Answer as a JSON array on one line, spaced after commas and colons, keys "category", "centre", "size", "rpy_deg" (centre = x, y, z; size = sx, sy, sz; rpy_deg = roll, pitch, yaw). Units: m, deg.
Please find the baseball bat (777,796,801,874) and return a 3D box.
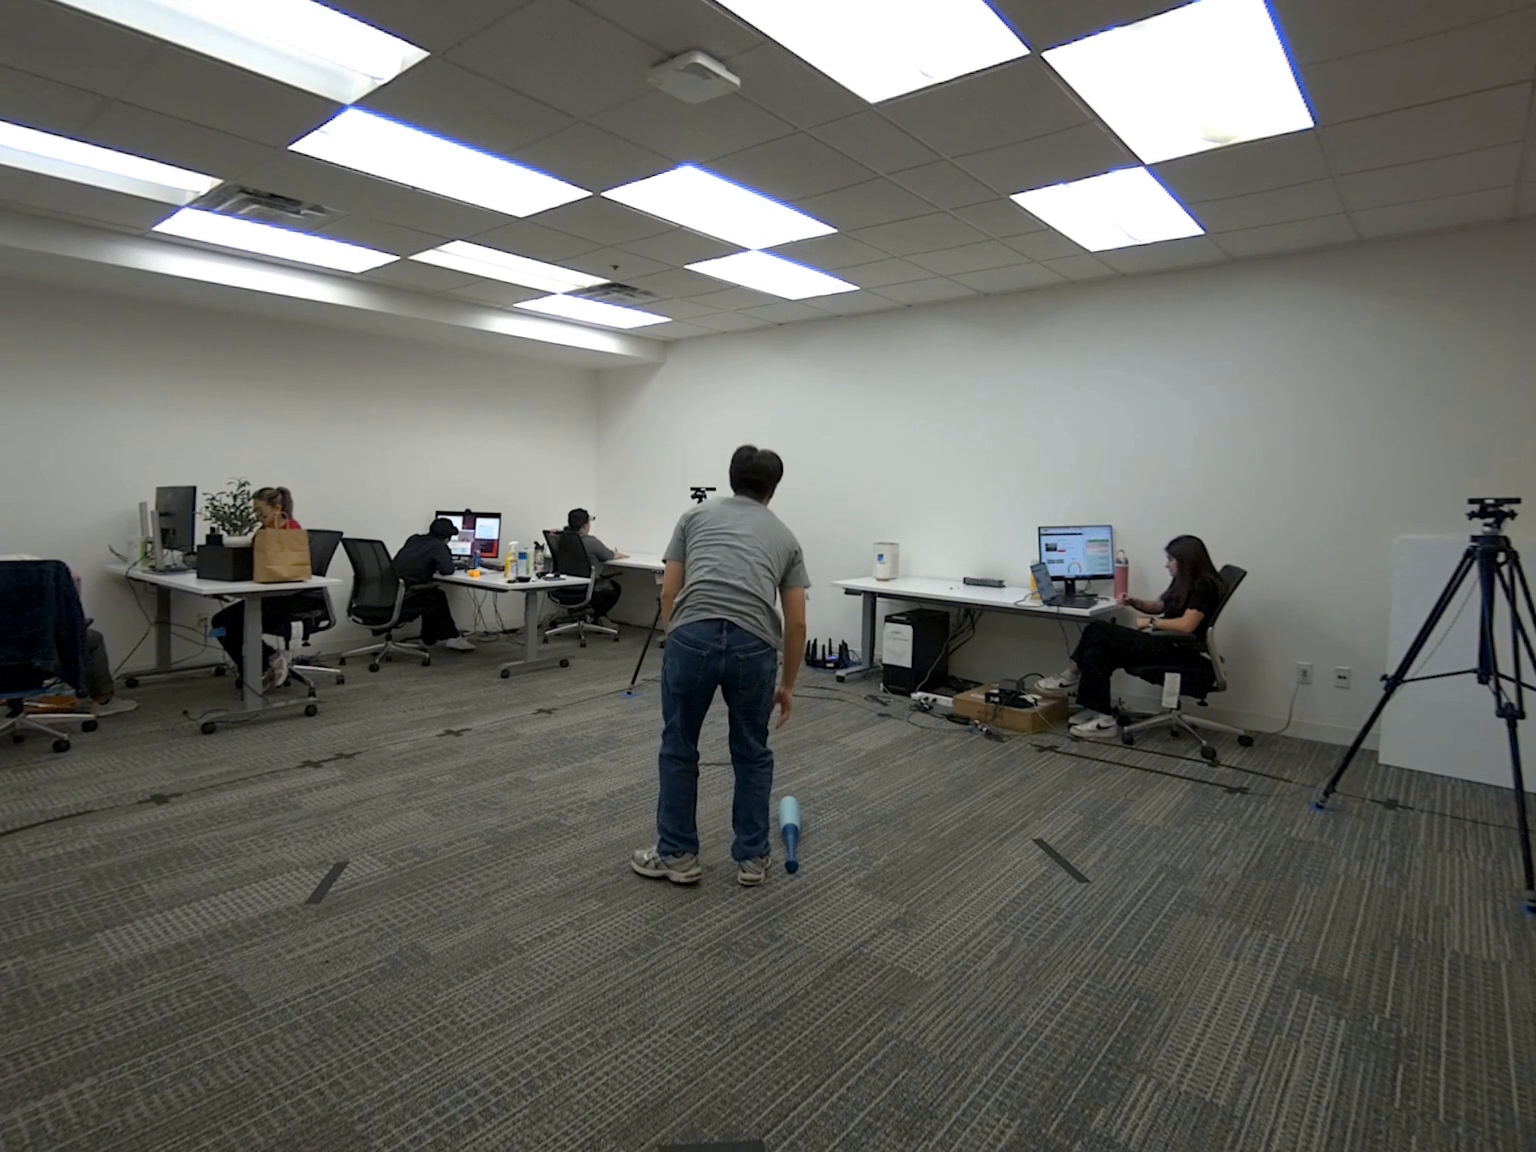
[{"category": "baseball bat", "centre": [0.081, 1.012, 3.349], "size": [0.089, 0.088, 0.546], "rpy_deg": [1, 9, 0]}]
